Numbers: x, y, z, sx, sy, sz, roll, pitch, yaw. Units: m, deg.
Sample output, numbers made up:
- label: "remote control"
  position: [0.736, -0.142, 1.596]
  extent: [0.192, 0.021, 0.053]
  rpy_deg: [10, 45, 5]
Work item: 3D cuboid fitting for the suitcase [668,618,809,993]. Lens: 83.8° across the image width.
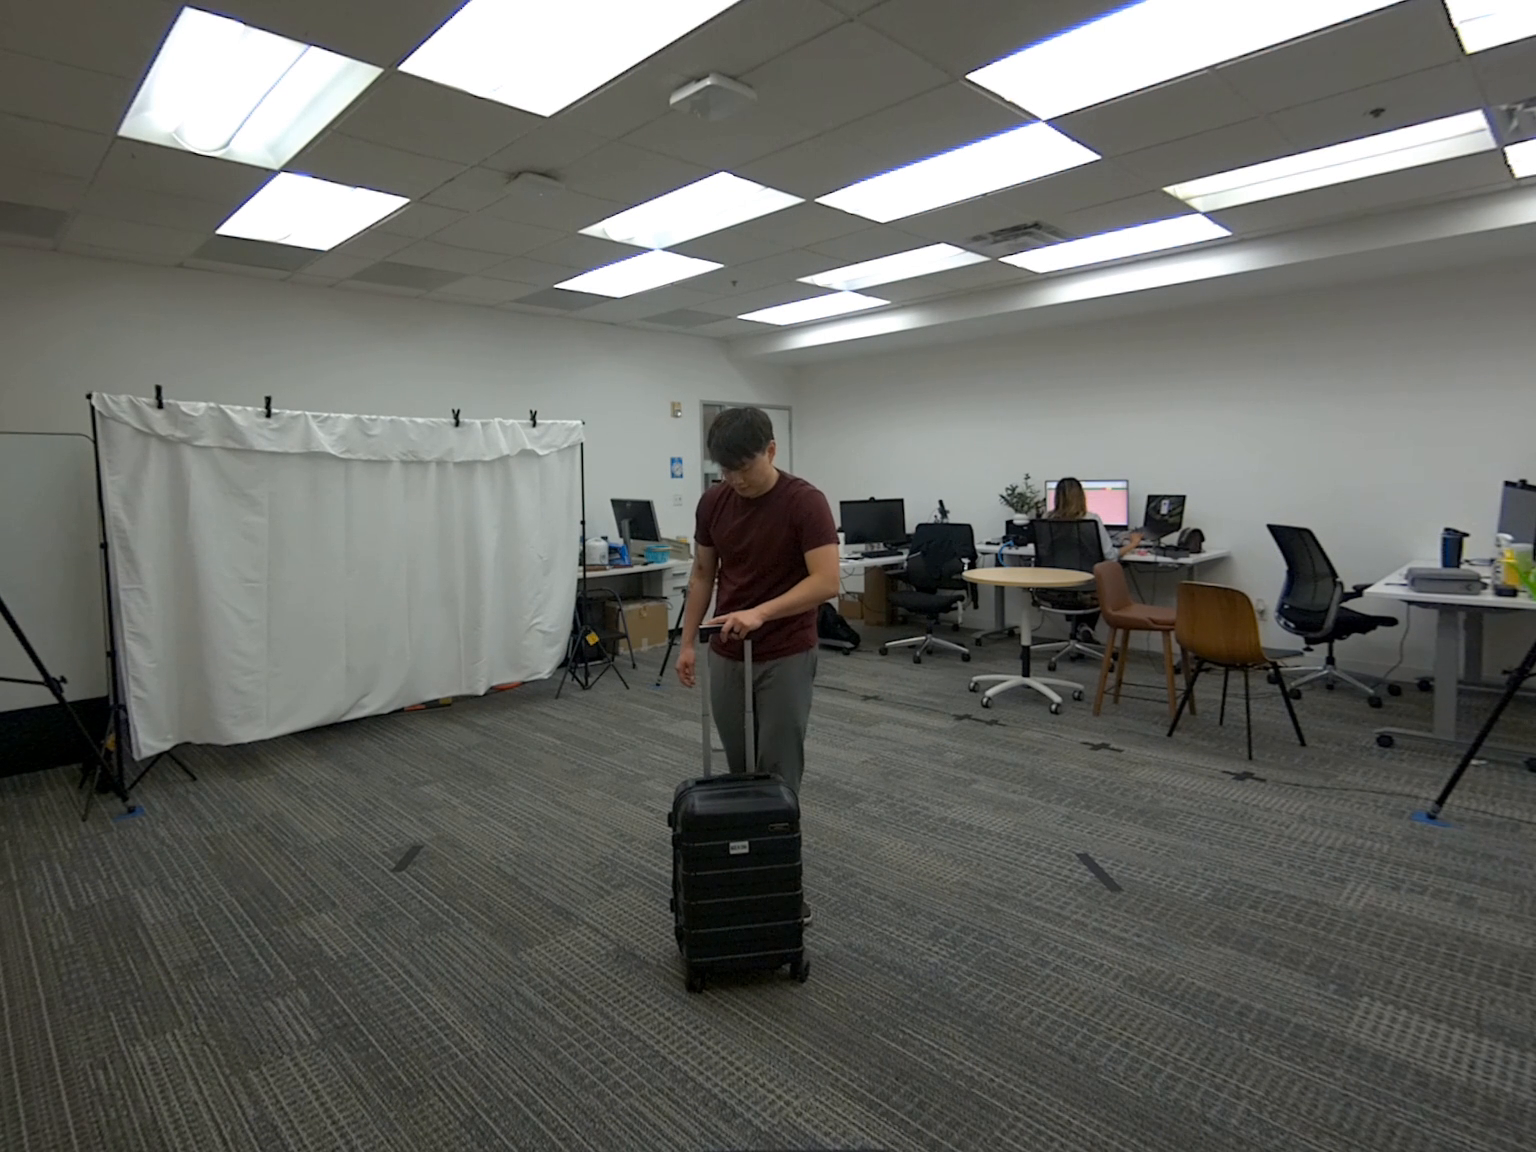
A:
- label: "suitcase"
  position: [-0.088, 0.657, 2.411]
  extent: [0.381, 0.972, 0.260]
  rpy_deg: [-2, 7, -7]
